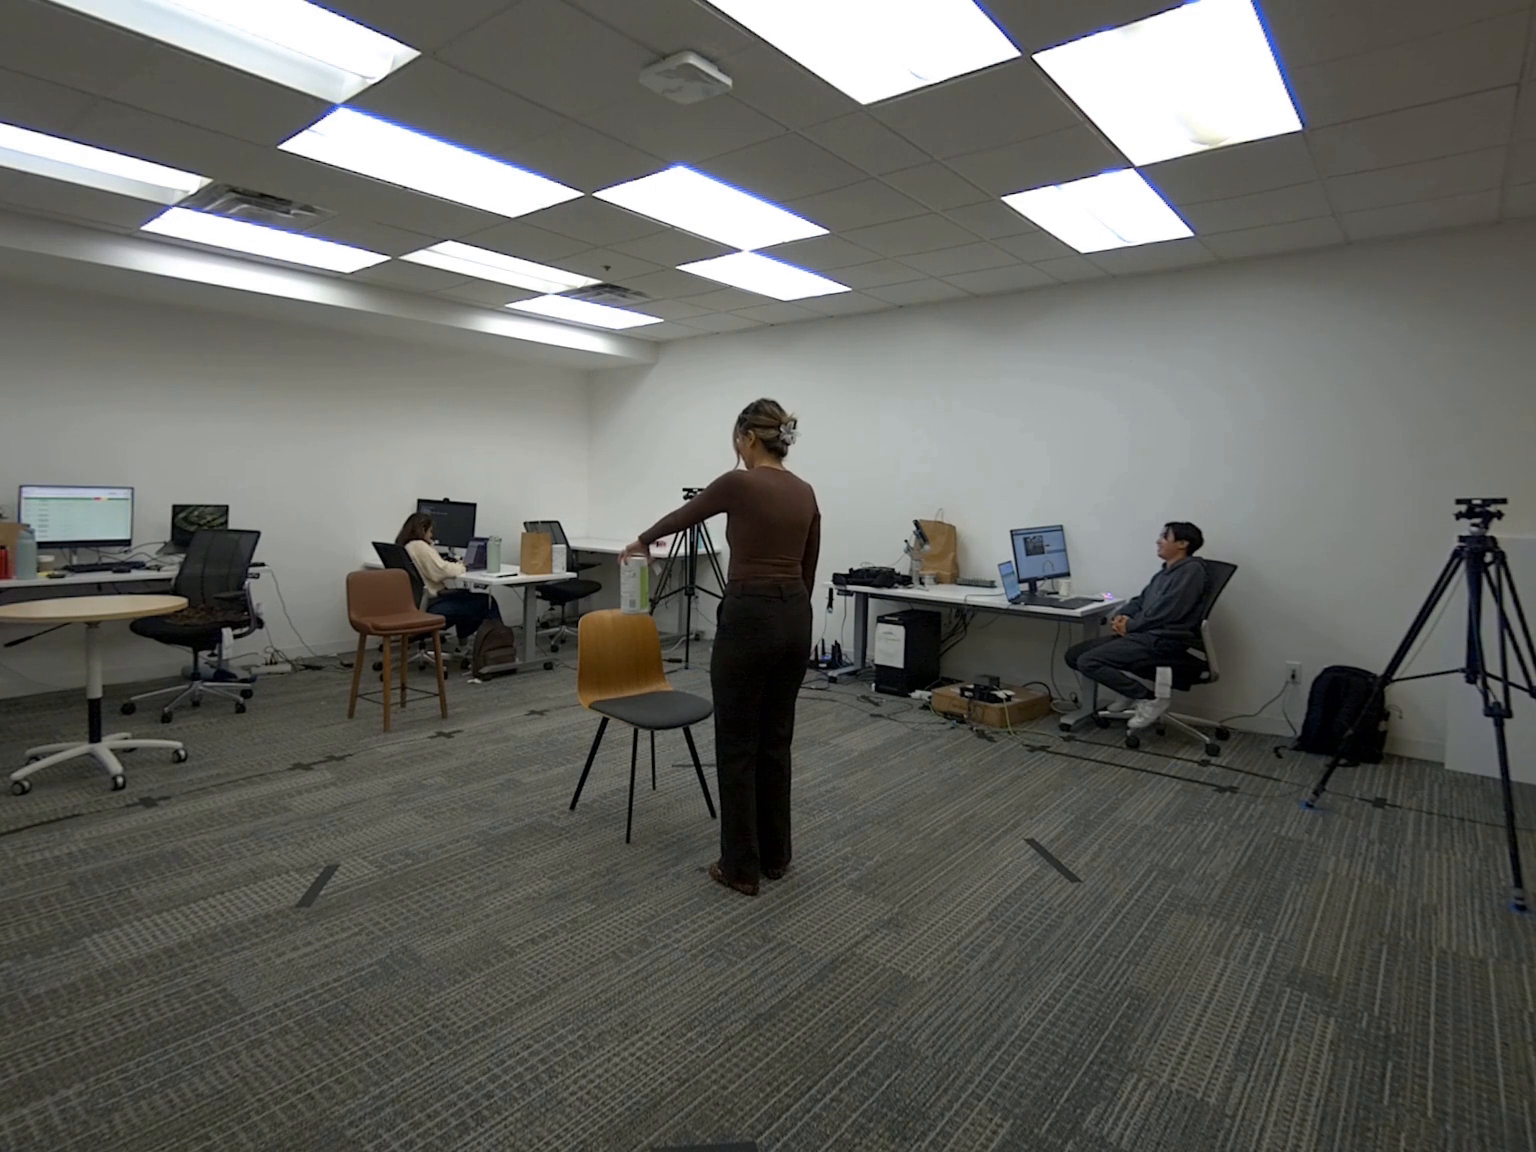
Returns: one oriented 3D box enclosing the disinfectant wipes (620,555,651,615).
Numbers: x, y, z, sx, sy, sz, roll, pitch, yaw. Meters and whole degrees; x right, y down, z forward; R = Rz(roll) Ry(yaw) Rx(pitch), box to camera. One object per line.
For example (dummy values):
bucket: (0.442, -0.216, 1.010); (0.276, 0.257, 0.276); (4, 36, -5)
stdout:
disinfectant wipes: (-0.535, 0.035, 3.343); (0.118, 0.216, 0.118); (1, 5, -2)
